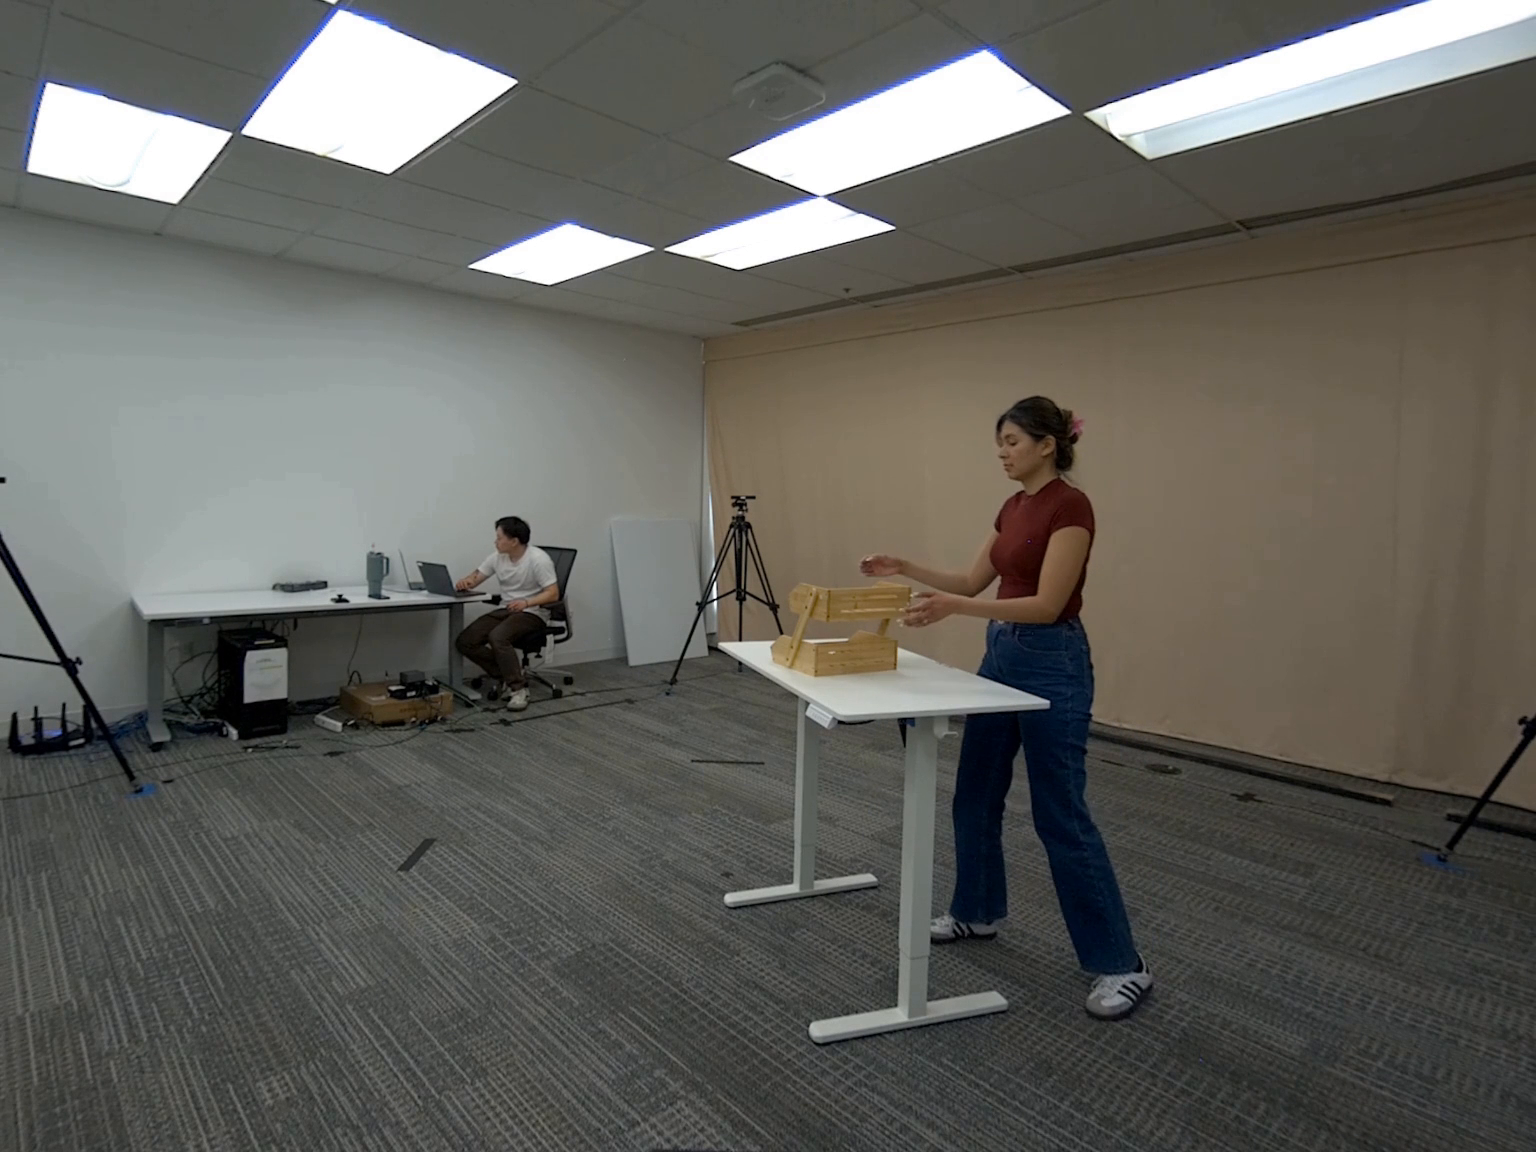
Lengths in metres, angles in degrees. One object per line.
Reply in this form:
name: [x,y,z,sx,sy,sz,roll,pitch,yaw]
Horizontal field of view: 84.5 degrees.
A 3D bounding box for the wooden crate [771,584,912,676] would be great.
wooden crate: [0.213,0.146,2.562,0.318,0.272,0.309,-1,6,-30]
